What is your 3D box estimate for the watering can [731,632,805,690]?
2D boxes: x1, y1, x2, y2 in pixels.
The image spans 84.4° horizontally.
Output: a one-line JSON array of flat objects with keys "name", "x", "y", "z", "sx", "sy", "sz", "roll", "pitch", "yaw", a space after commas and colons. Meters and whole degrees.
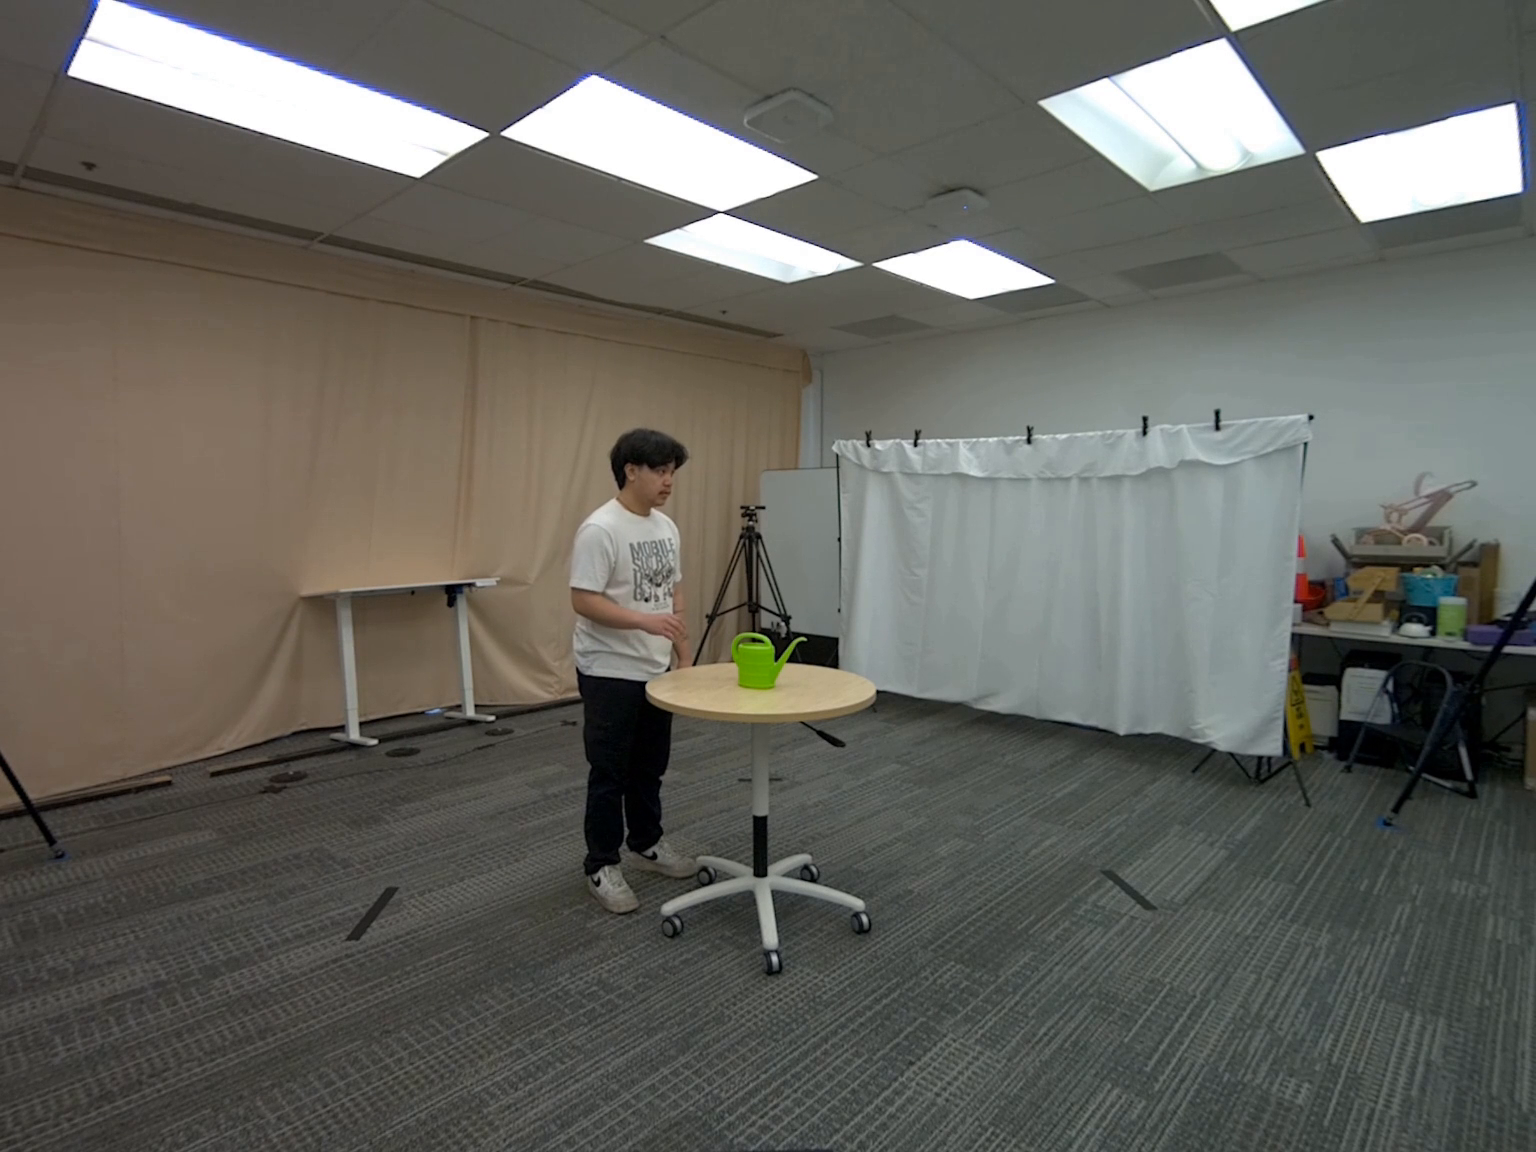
[{"name": "watering can", "x": 0.002, "y": 0.285, "z": 2.762, "sx": 0.287, "sy": 0.176, "sz": 0.095, "roll": 1, "pitch": 5, "yaw": 42}]
